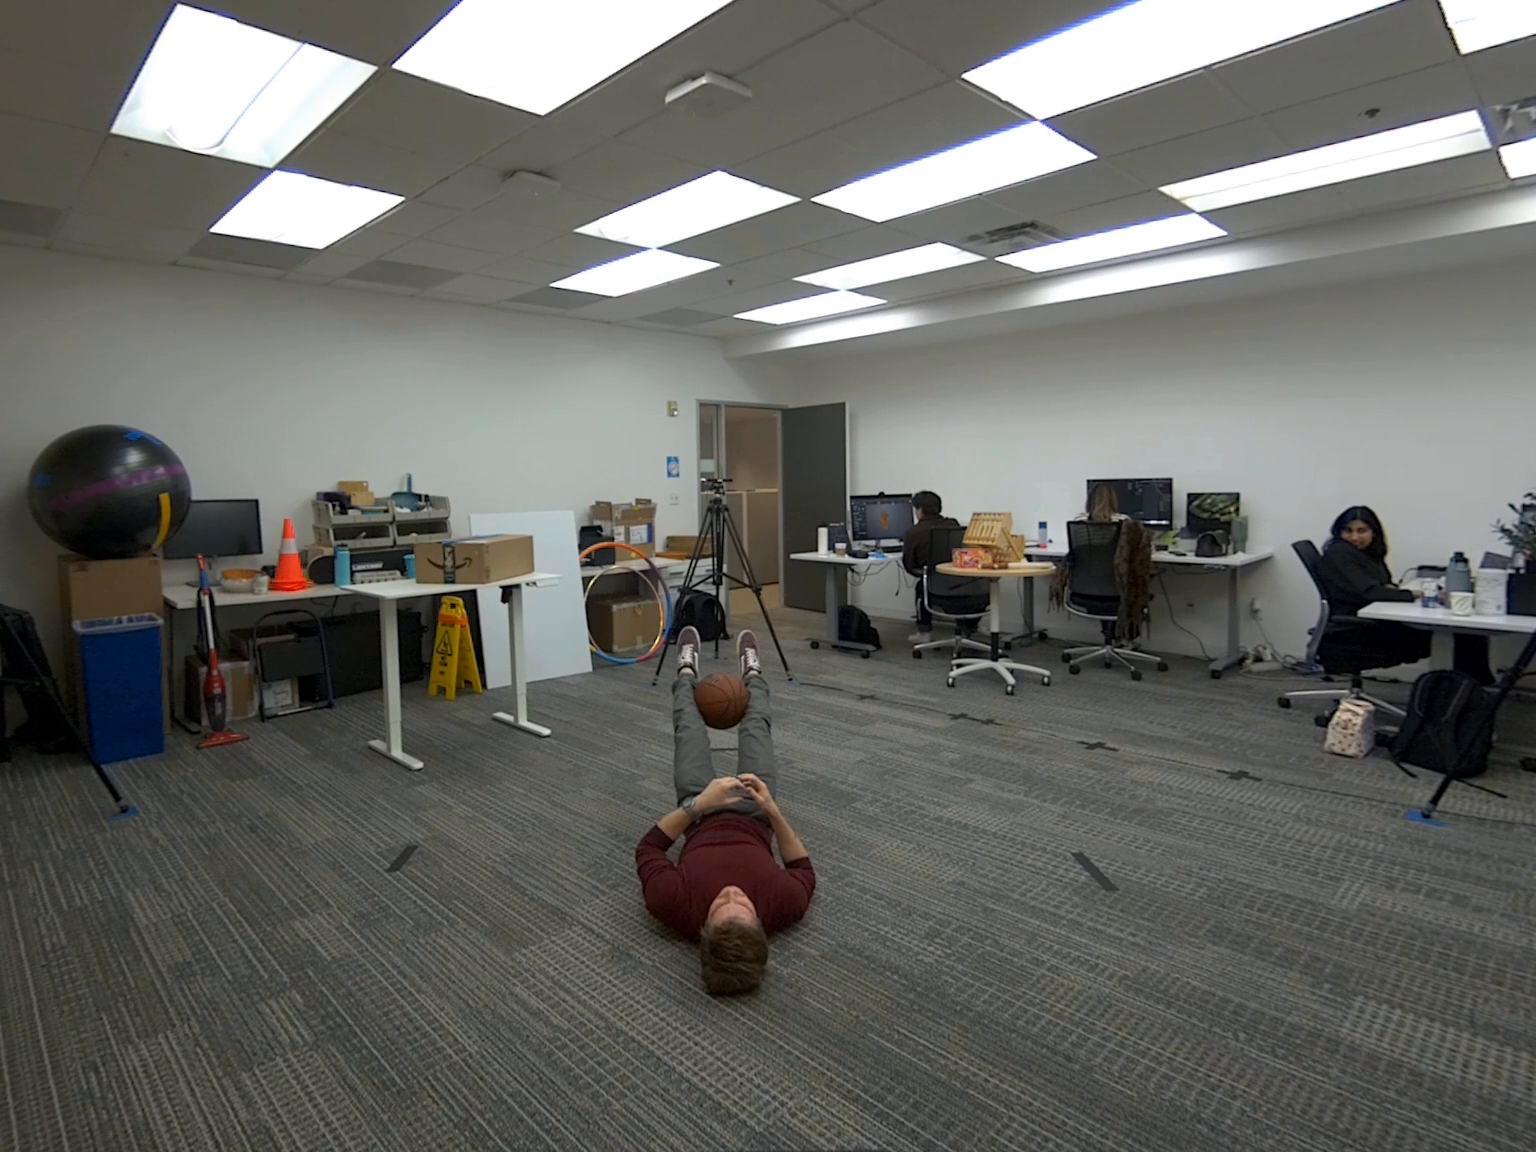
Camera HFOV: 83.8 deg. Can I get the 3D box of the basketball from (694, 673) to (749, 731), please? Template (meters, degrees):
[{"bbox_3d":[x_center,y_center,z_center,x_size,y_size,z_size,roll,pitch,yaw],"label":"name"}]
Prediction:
[{"bbox_3d":[-0.191,0.520,3.580,0.236,0.235,0.237,-1,5,-2],"label":"basketball"}]
